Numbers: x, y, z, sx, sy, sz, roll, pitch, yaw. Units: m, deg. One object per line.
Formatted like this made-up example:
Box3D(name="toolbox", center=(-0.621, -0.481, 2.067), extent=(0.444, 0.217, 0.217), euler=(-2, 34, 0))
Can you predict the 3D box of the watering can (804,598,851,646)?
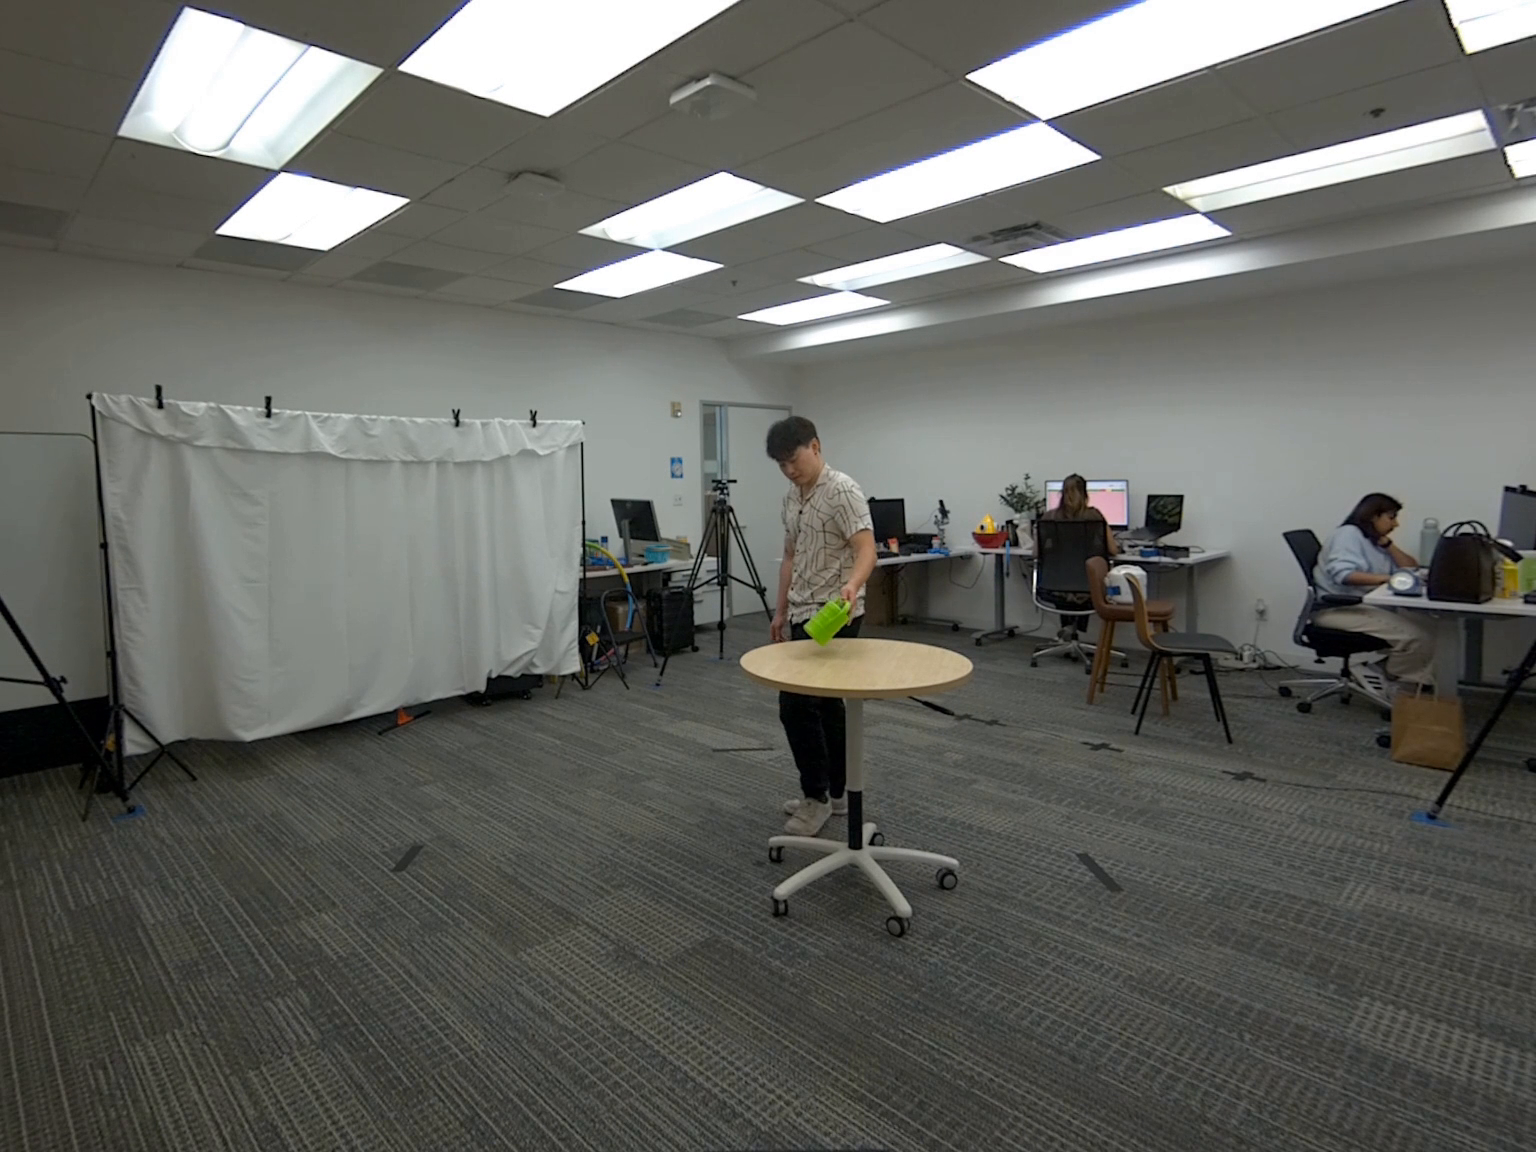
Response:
Box3D(name="watering can", center=(0.218, 0.157, 2.989), extent=(0.177, 0.099, 0.275), euler=(-45, -7, 0))
